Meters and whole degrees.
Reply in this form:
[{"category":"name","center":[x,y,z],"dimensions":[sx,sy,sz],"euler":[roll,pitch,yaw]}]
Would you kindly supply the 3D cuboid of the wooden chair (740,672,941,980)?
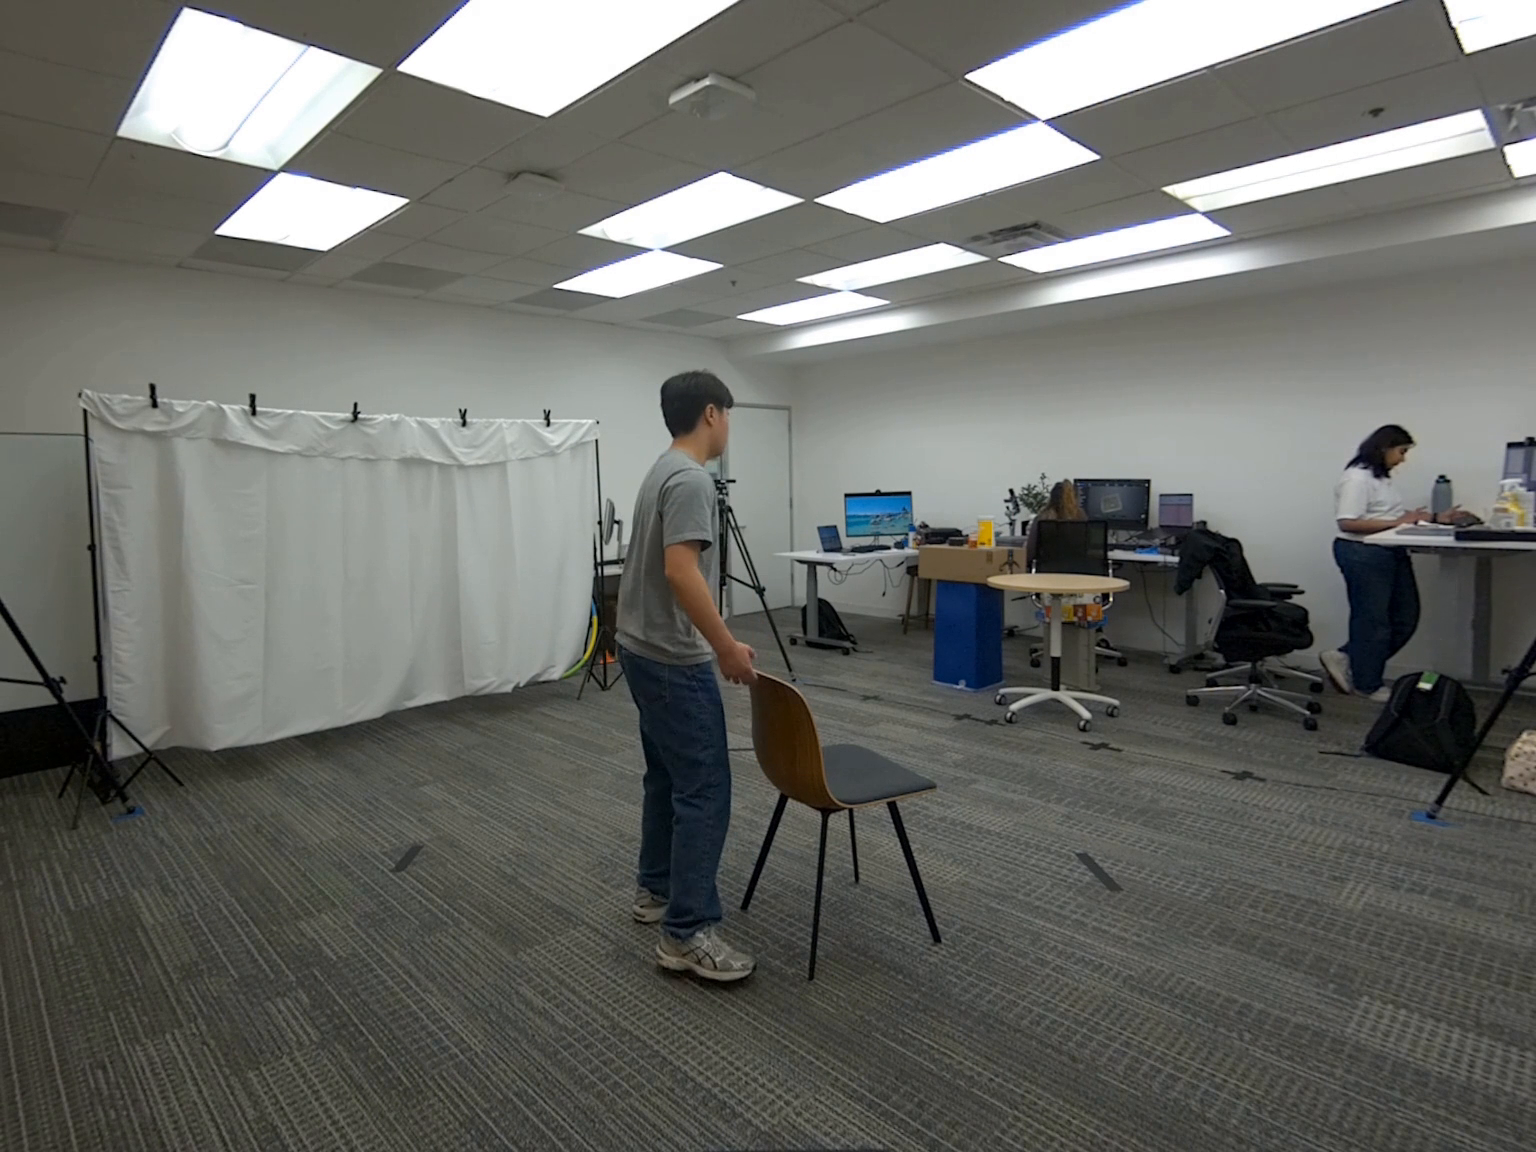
[{"category":"wooden chair","center":[0.216,0.665,2.641],"dimensions":[0.513,0.872,0.490],"euler":[-8,6,-25]}]
